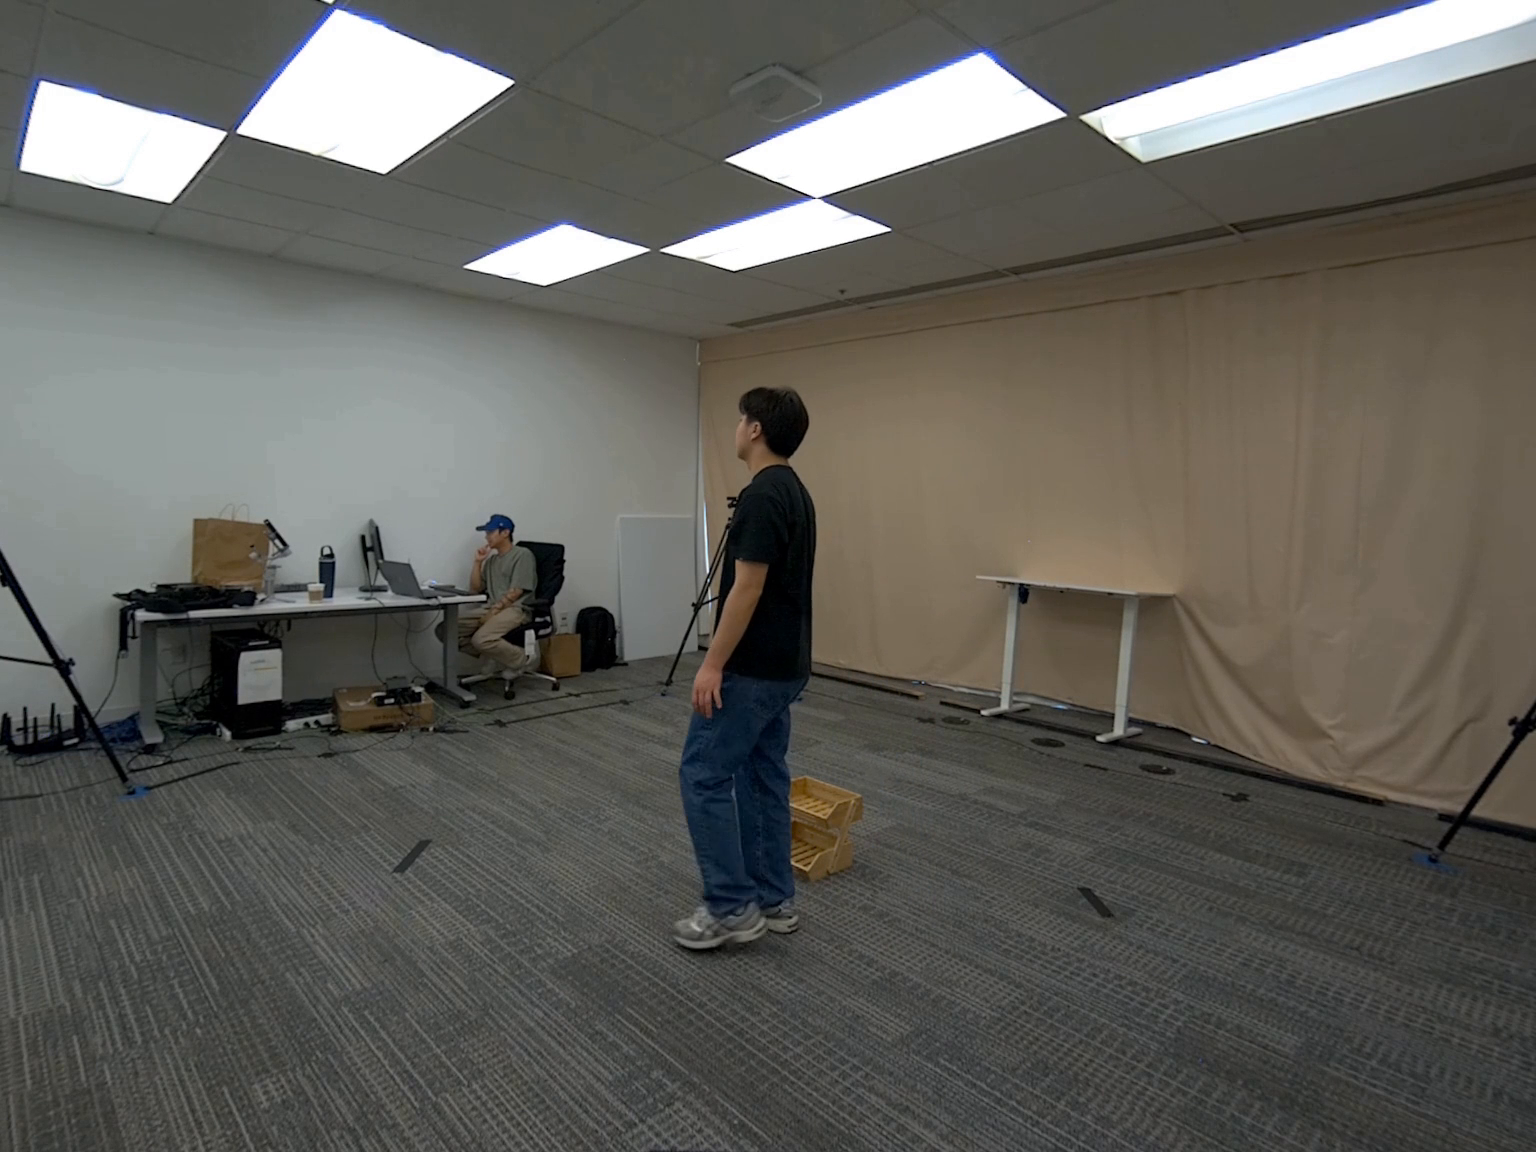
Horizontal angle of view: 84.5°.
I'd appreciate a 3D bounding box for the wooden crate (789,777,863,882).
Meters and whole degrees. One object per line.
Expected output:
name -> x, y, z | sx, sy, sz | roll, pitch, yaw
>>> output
wooden crate -> 0.143, 0.967, 3.261 | 0.295, 0.273, 0.333 | -2, 5, -43
